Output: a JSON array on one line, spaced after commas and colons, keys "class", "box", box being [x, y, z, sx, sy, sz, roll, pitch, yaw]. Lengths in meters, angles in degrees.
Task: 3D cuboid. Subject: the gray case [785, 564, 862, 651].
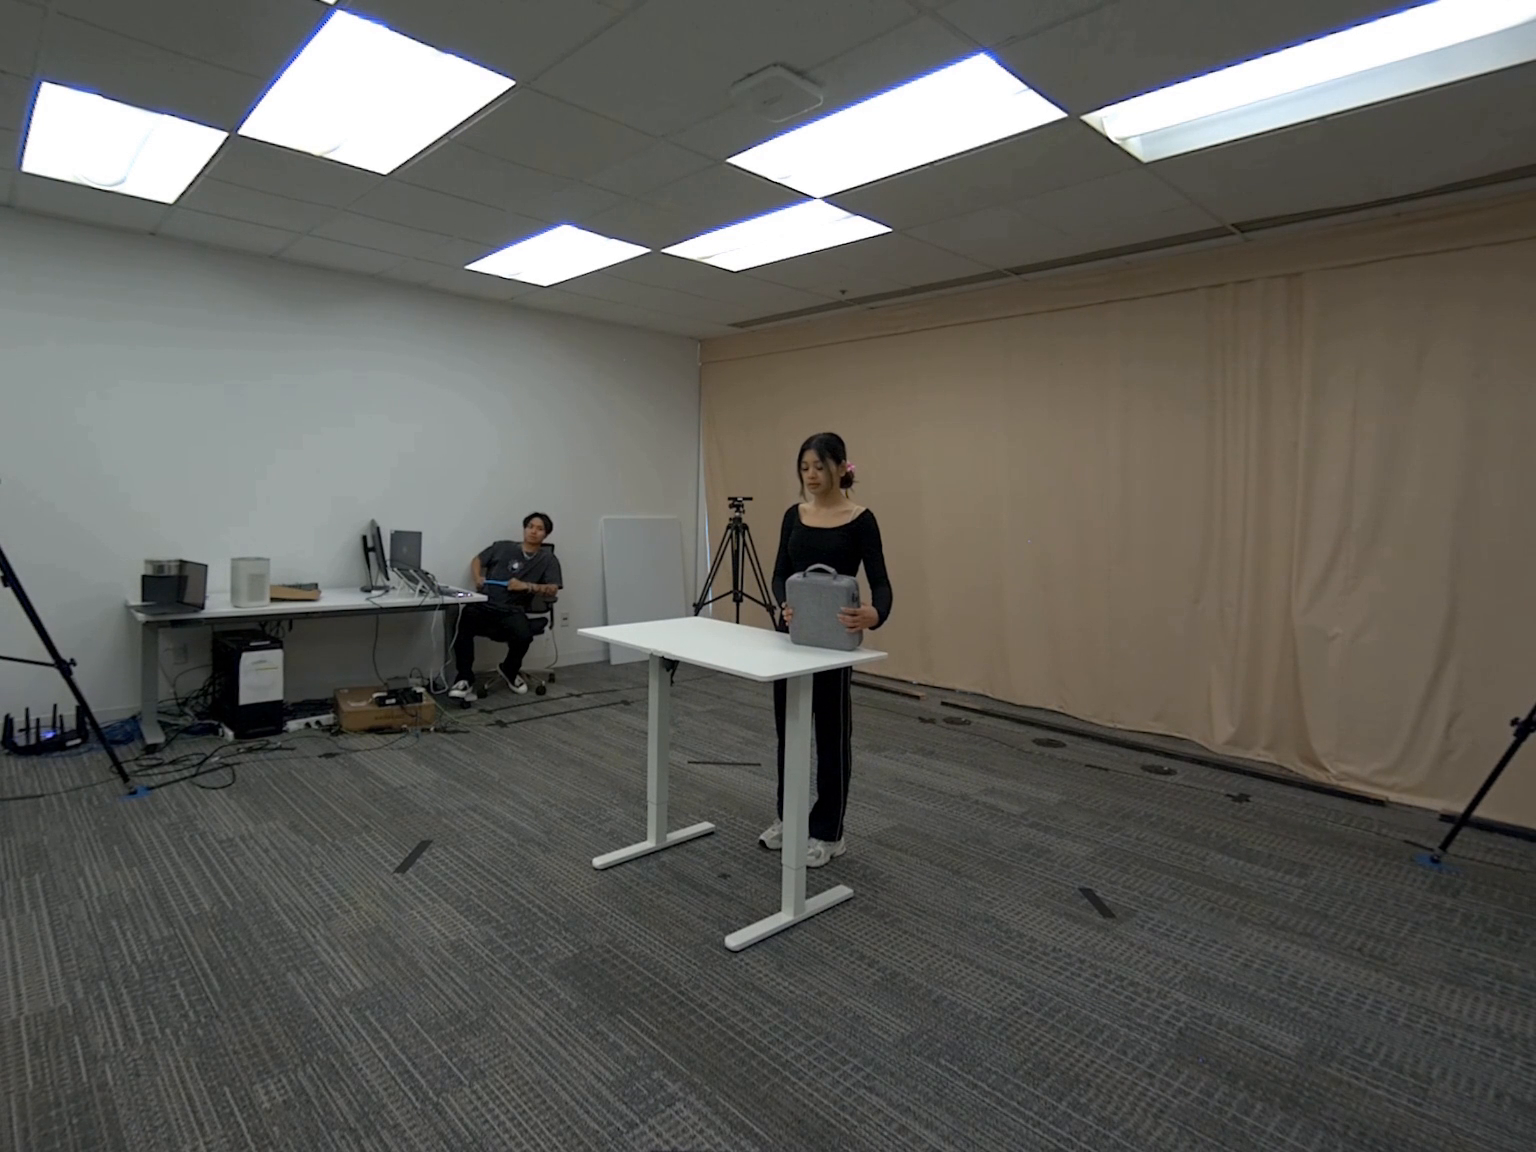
[{"class": "gray case", "box": [0.193, 0.120, 2.923, 0.263, 0.257, 0.103, 6, 18, 35]}]
